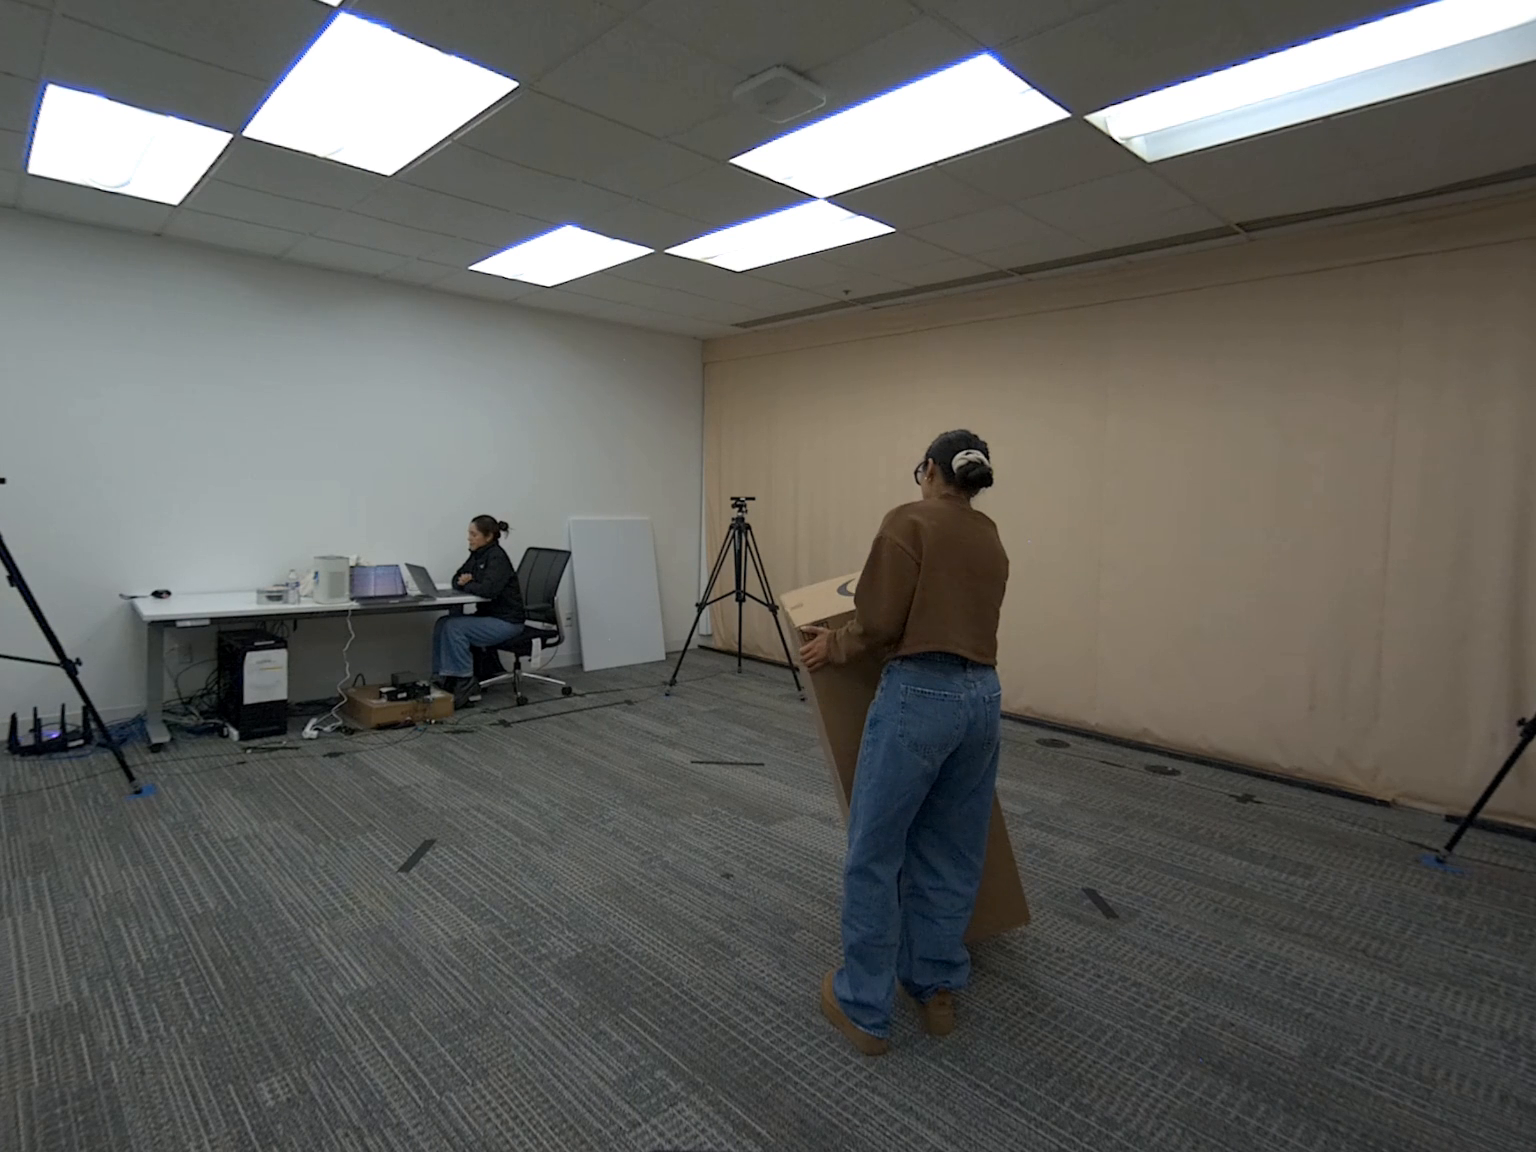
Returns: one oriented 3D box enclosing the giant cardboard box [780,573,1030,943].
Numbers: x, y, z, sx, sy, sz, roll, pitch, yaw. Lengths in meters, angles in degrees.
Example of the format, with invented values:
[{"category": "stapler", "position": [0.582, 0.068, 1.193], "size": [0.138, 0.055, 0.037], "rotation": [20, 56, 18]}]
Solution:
[{"category": "giant cardboard box", "position": [0.409, 0.532, 2.646], "size": [0.425, 1.020, 0.581], "rotation": [-17, 6, -3]}]
